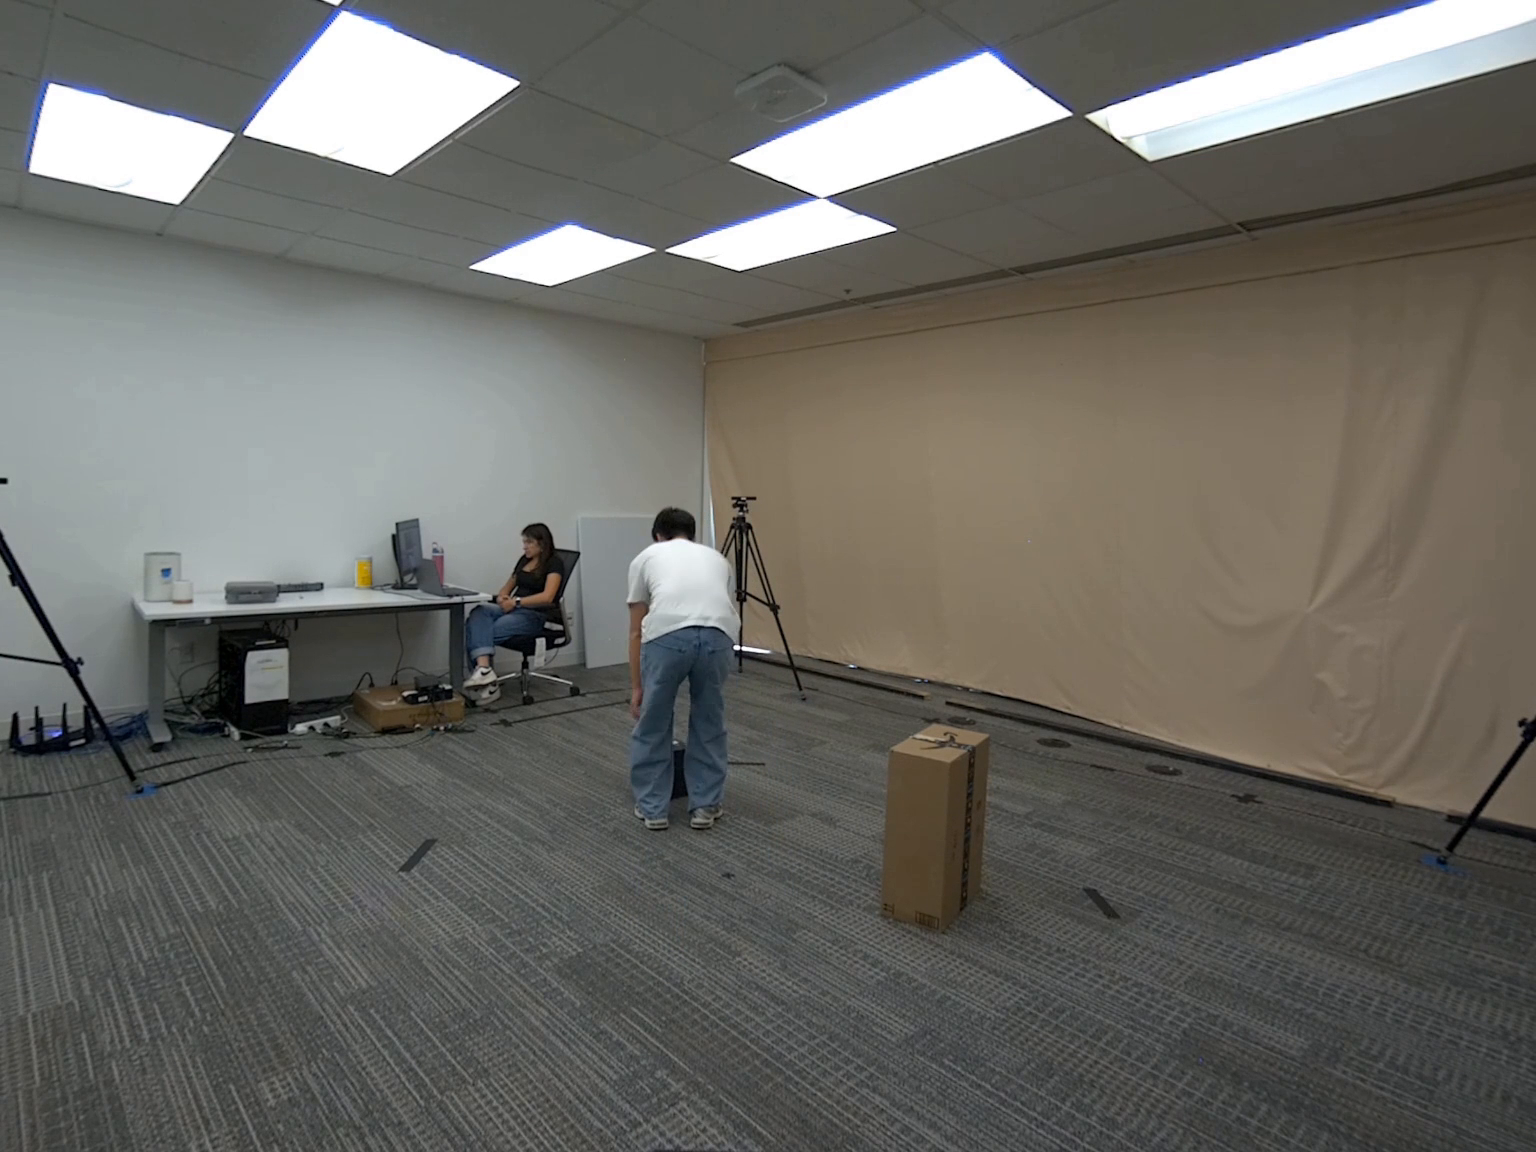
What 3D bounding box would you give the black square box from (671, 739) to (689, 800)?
[{"bbox_3d":[-0.494,0.909,3.939,0.212,0.227,0.160,-2,6,-36],"label":"black square box"}]
